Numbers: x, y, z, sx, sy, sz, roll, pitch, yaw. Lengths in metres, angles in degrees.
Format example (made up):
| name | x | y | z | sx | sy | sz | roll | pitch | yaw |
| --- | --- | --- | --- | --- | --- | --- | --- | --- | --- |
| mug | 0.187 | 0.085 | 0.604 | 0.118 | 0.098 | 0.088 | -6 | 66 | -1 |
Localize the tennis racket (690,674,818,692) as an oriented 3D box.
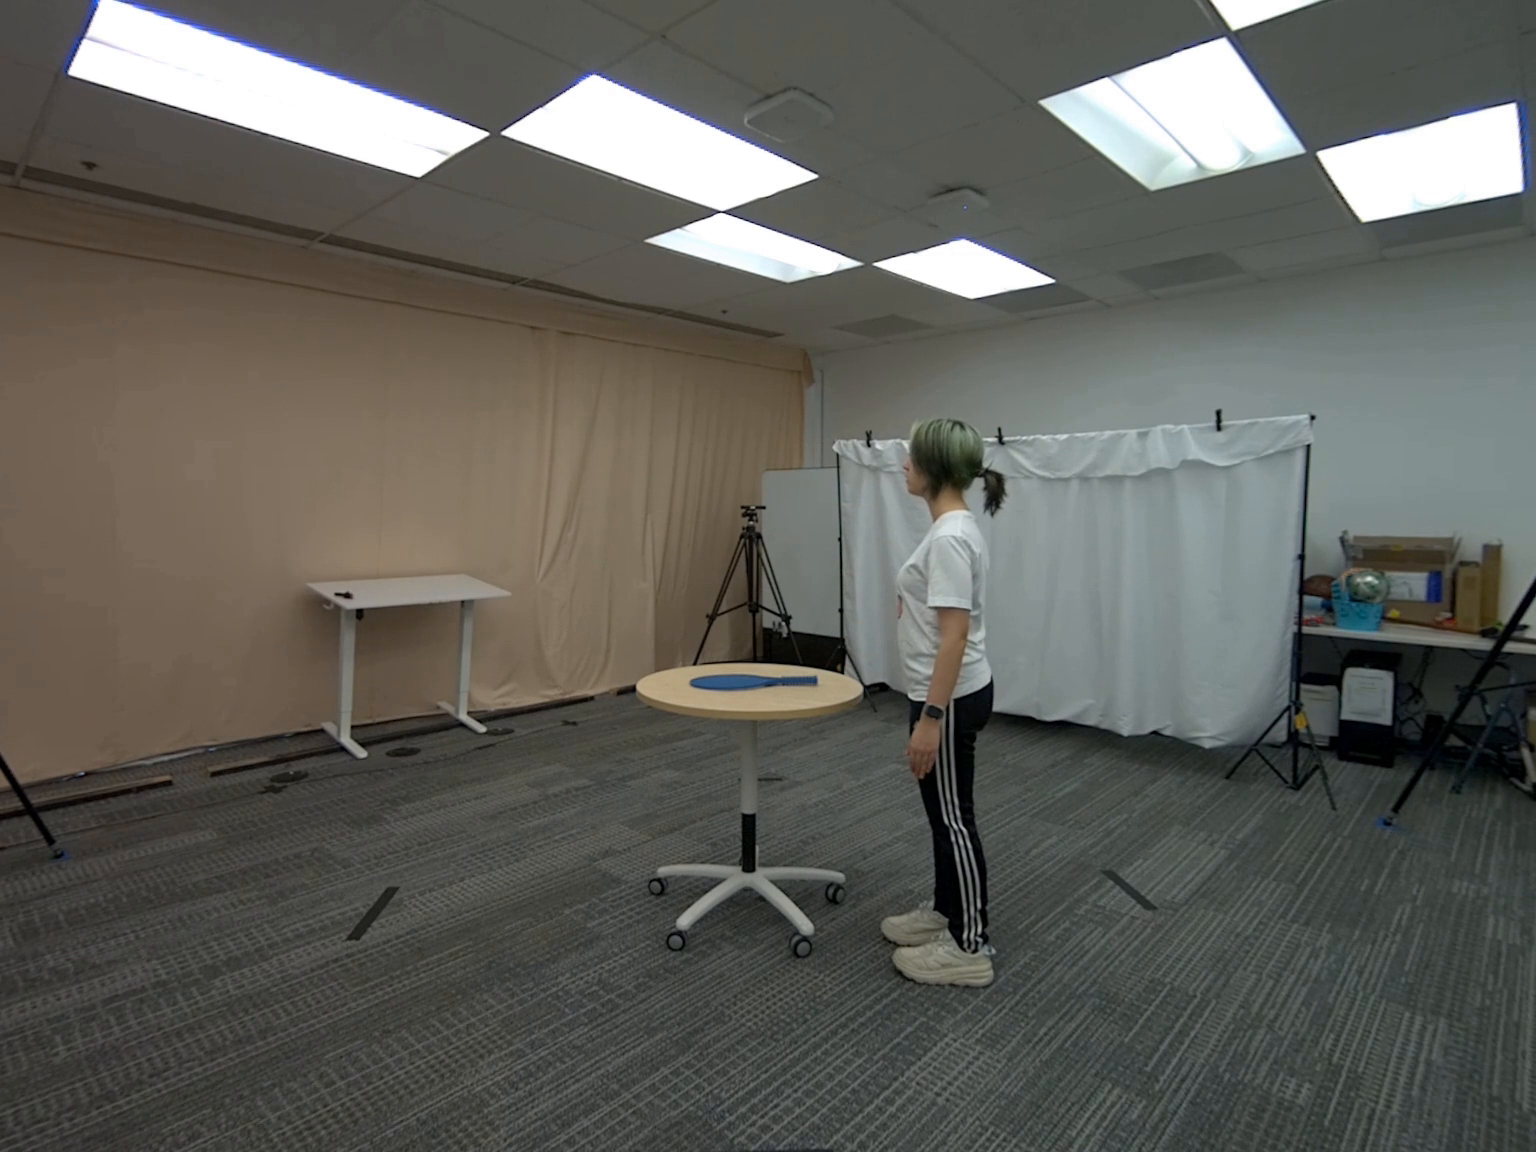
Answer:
| name | x | y | z | sx | sy | sz | roll | pitch | yaw |
| --- | --- | --- | --- | --- | --- | --- | --- | --- | --- |
| tennis racket | -0.057 | 0.366 | 2.843 | 0.435 | 0.031 | 0.213 | -1 | 5 | 5 |
